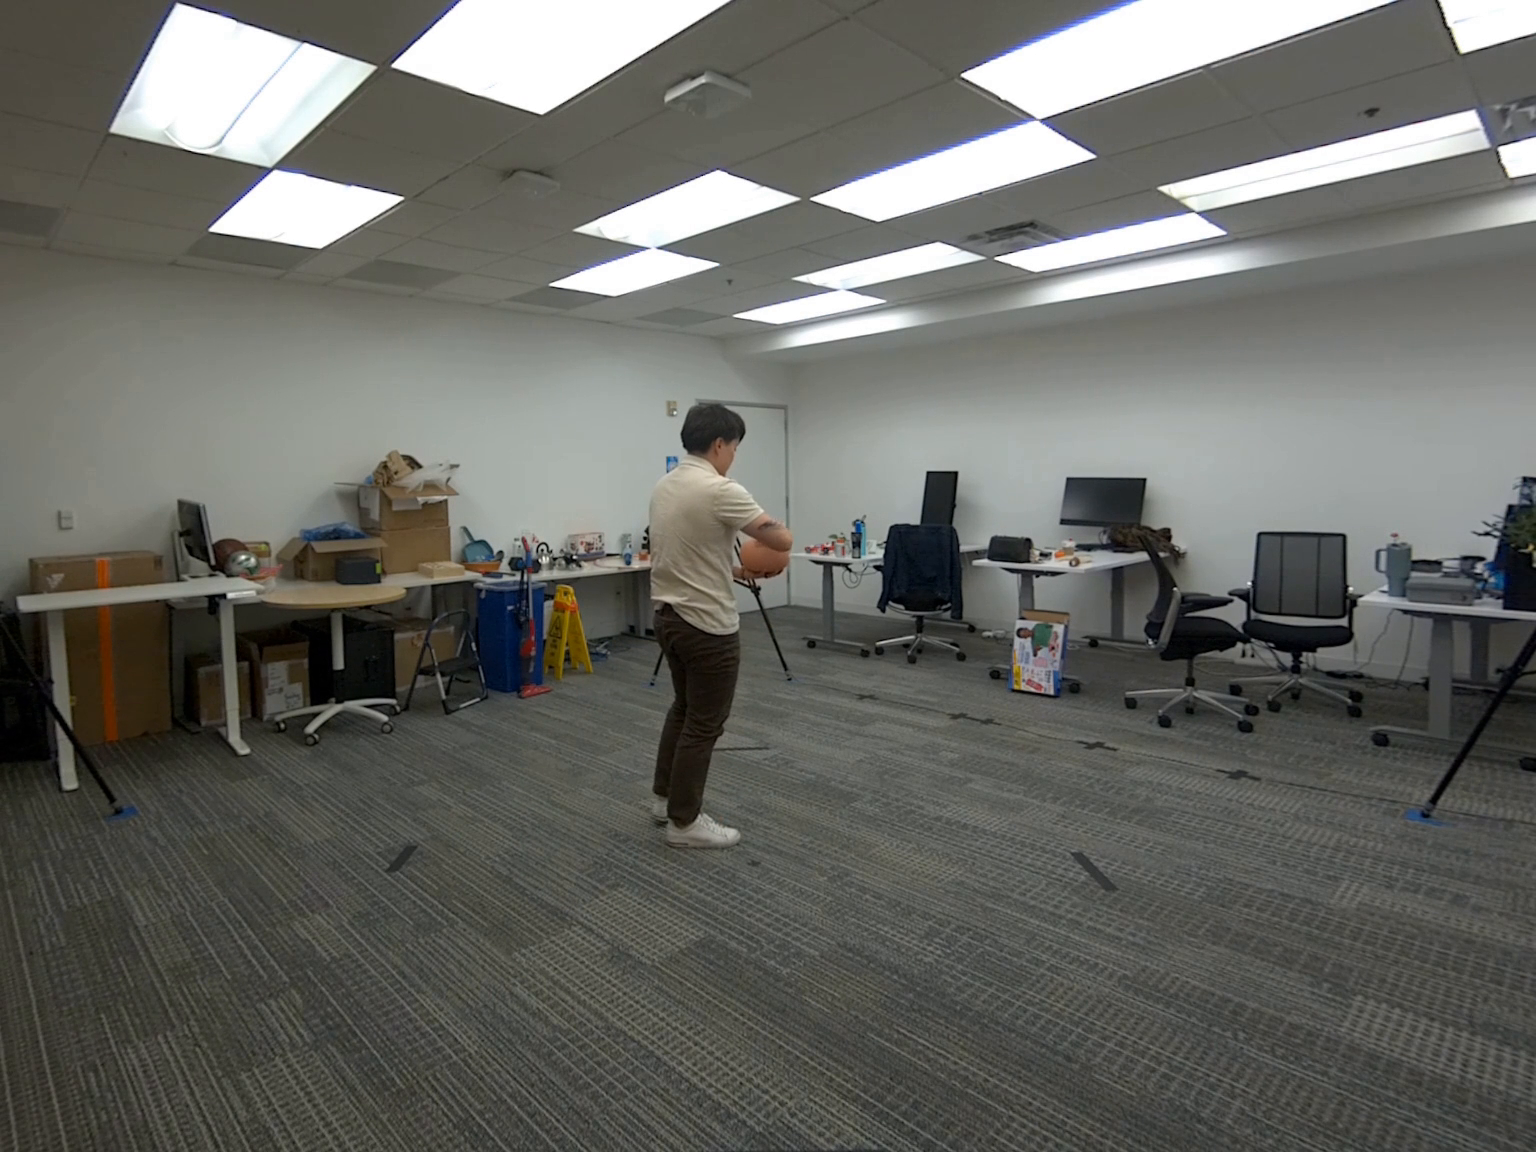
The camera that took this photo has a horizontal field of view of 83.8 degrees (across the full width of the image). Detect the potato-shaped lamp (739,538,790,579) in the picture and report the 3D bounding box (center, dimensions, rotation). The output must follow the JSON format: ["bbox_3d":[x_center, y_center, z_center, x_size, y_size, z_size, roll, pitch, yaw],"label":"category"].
[{"bbox_3d":[-0.023,-0.097,3.448,0.198,0.162,0.174,-7,17,-1],"label":"potato-shaped lamp"}]
